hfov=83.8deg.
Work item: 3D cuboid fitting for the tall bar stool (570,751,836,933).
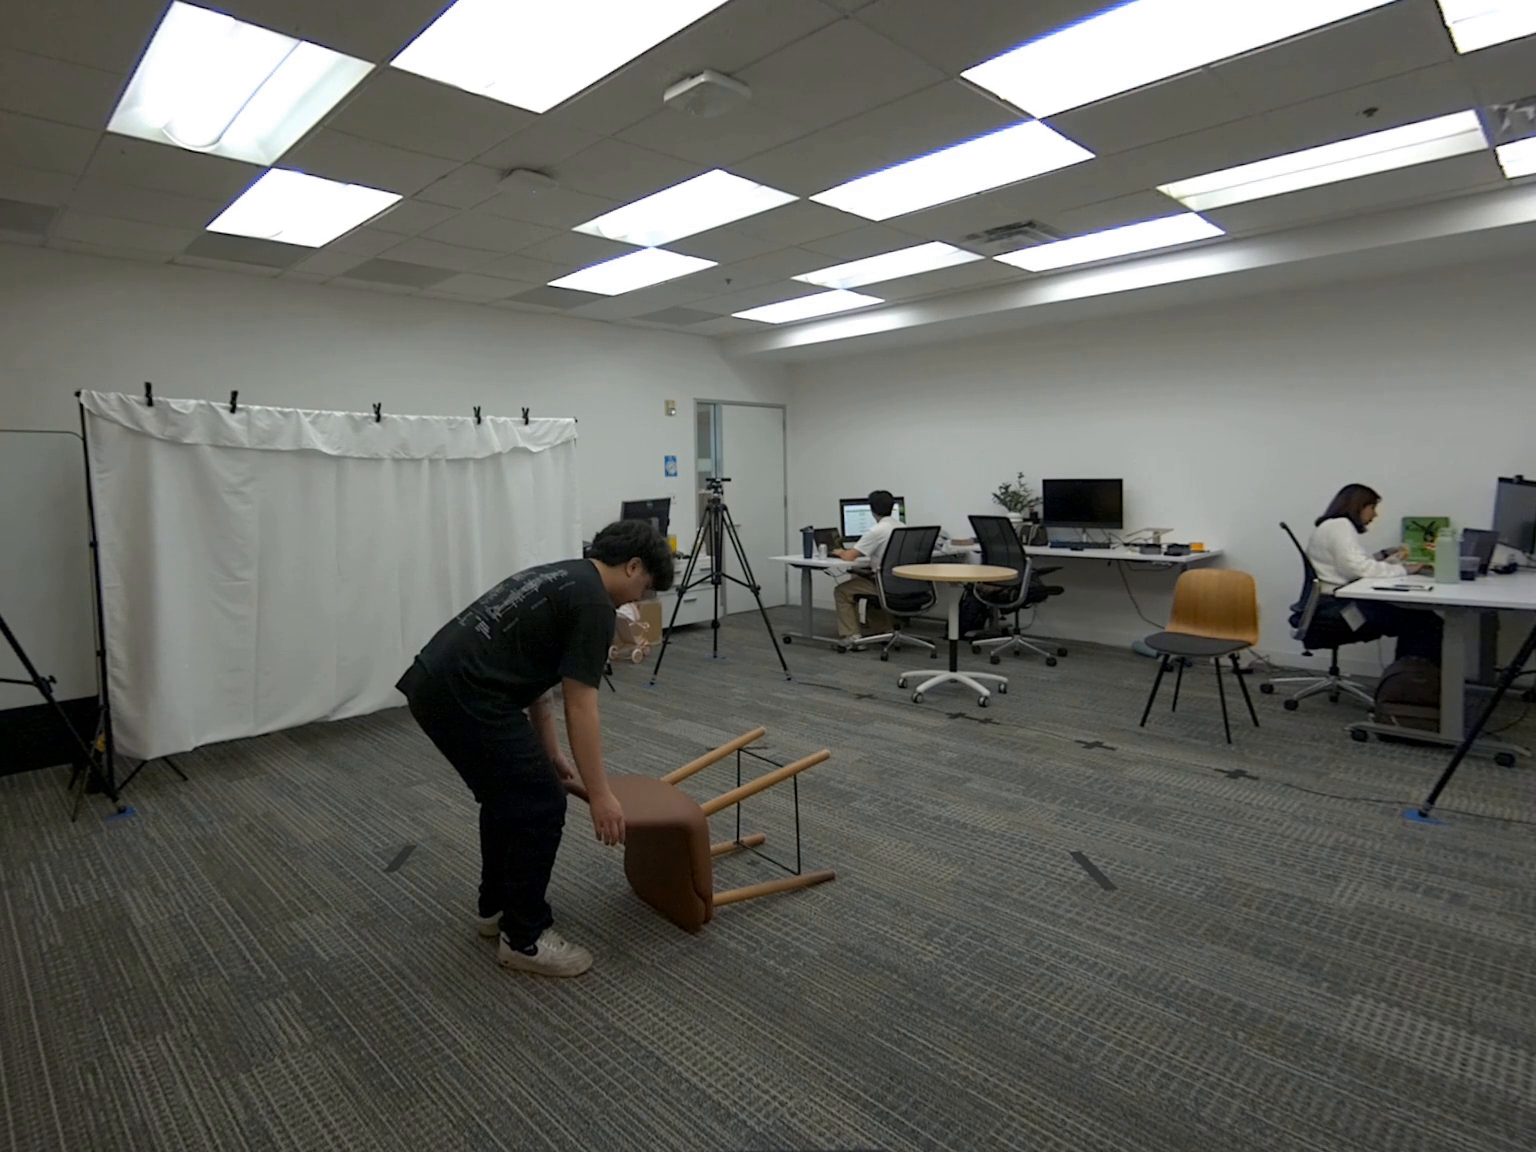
[{"bbox_3d":[-0.229,0.849,2.855,0.866,0.465,0.471,-5,7,-39],"label":"tall bar stool"}]
